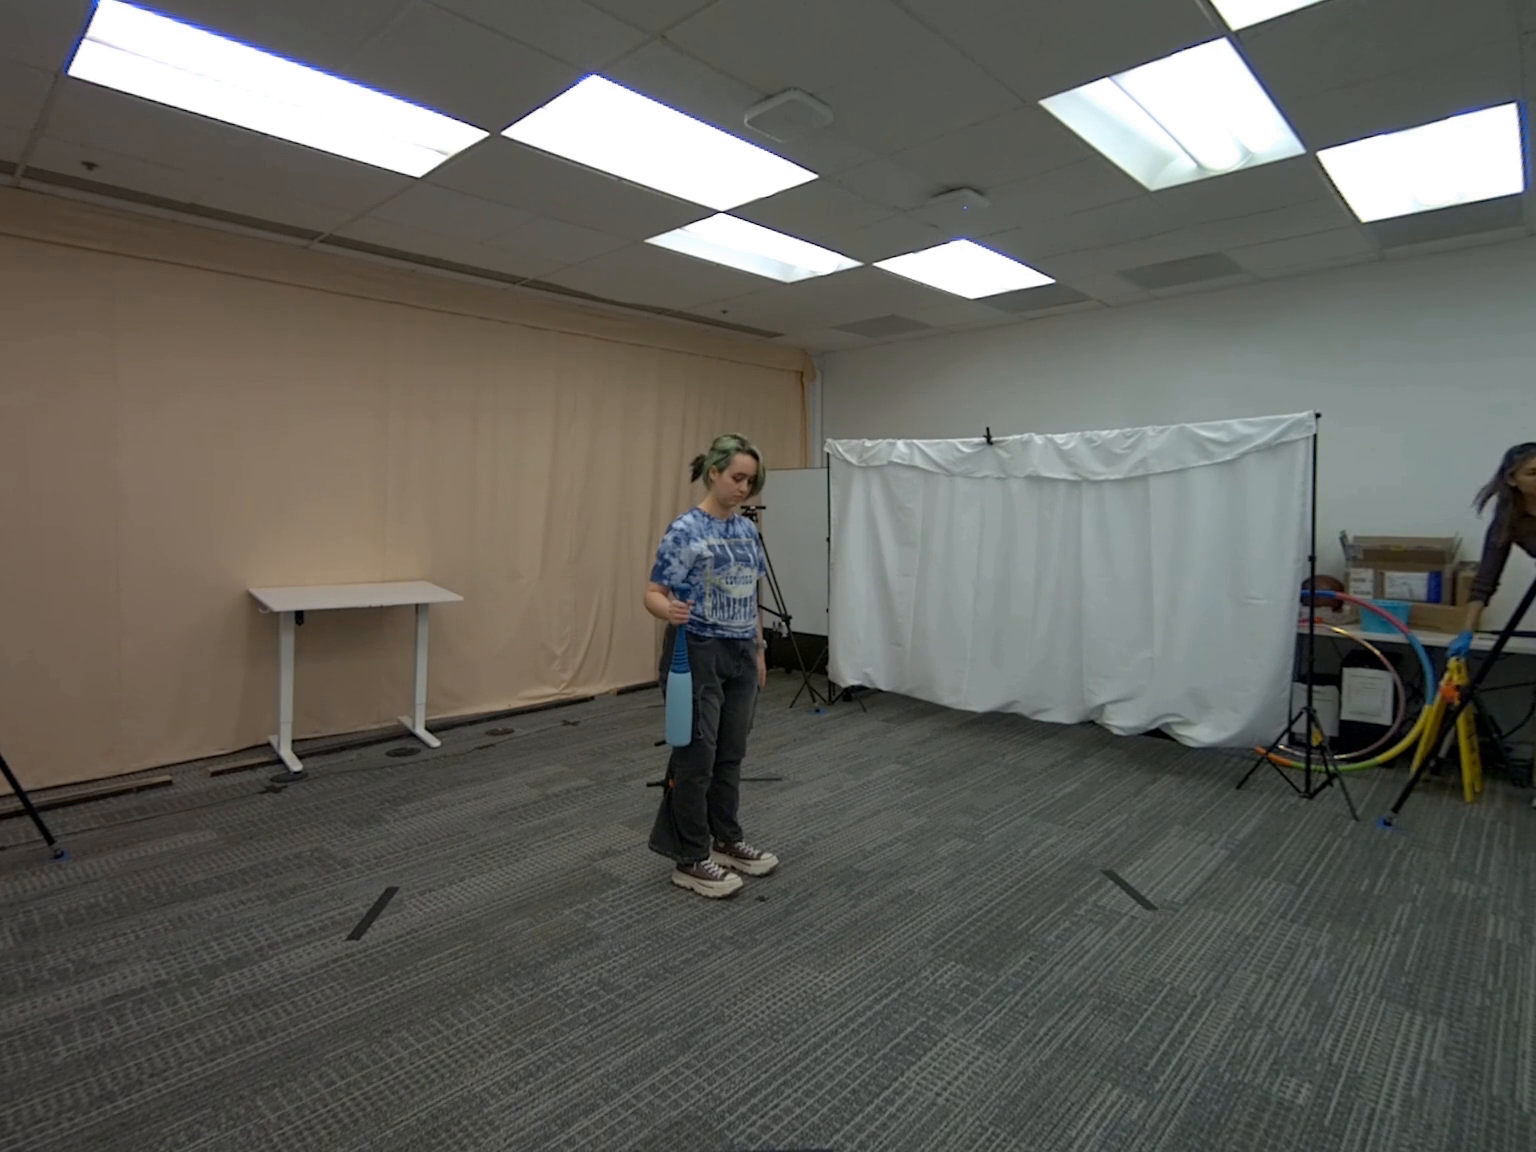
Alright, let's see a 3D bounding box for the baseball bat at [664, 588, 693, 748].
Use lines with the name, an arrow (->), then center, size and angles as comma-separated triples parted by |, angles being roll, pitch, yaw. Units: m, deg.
baseball bat -> -0.283, 0.292, 2.781 | 0.089, 0.541, 0.089 | 6, 7, -3
